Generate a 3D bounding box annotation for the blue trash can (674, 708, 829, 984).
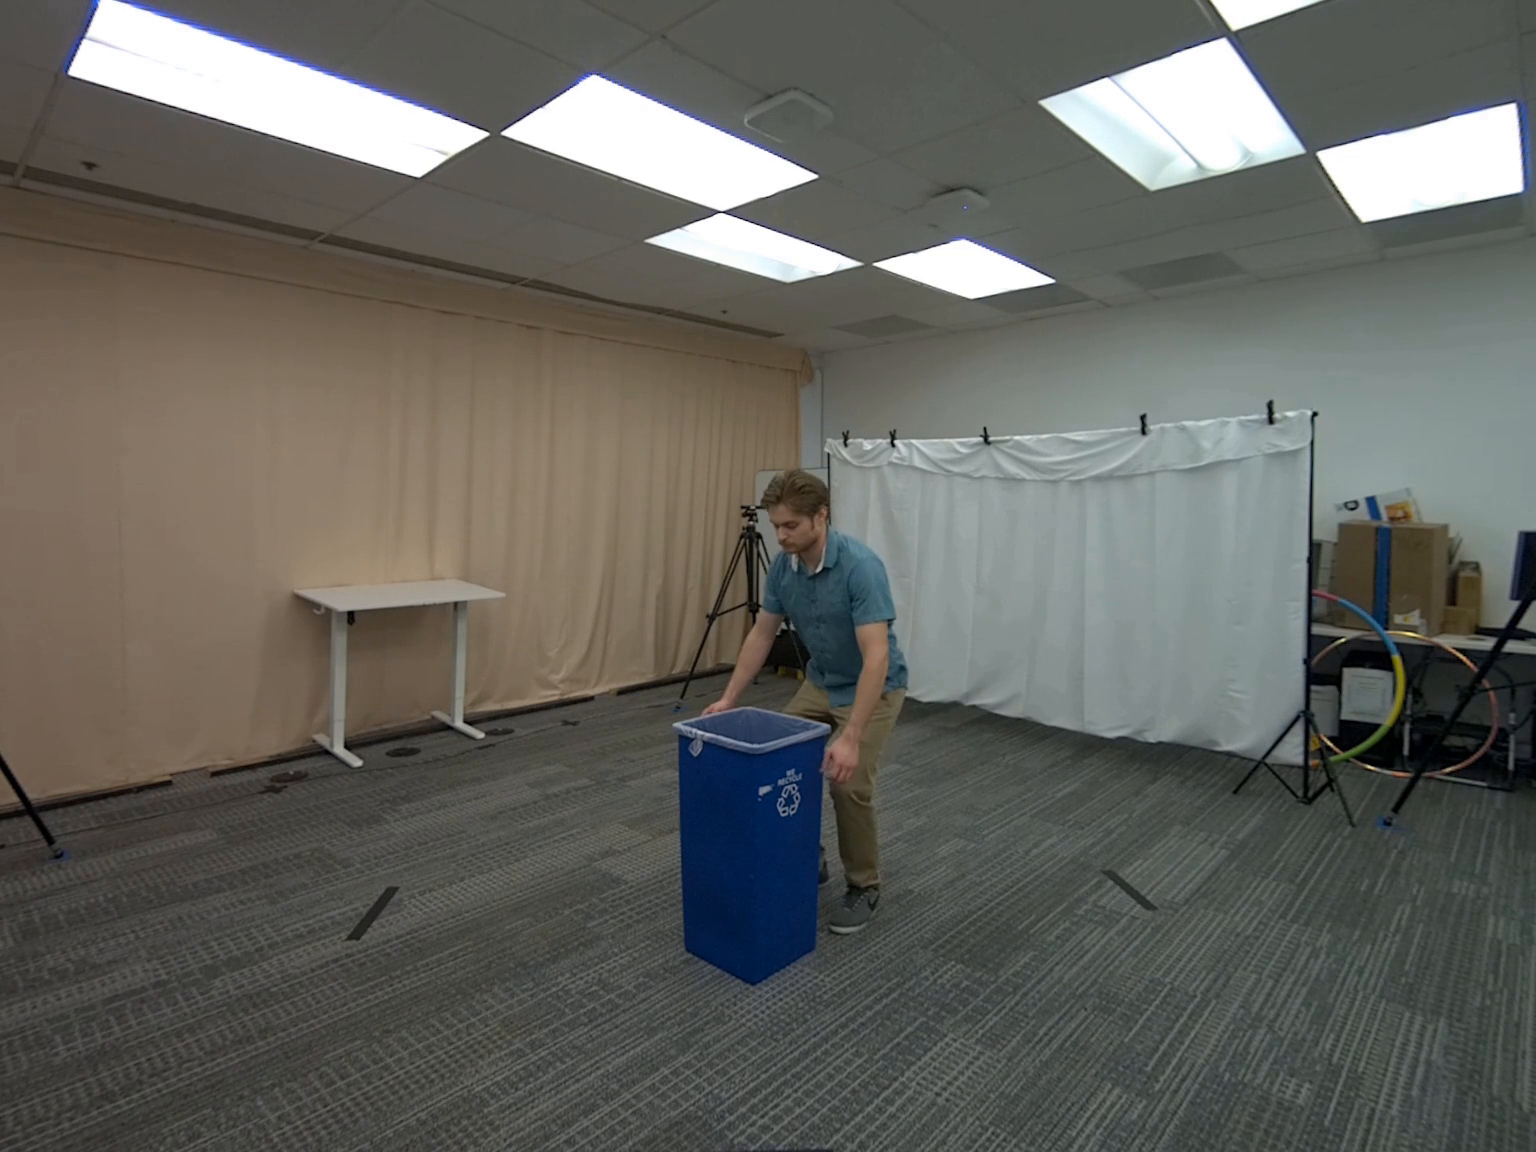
[{"bbox_3d":[-0.060,0.818,2.629,0.387,0.712,0.366,4,4,41],"label":"blue trash can"}]
